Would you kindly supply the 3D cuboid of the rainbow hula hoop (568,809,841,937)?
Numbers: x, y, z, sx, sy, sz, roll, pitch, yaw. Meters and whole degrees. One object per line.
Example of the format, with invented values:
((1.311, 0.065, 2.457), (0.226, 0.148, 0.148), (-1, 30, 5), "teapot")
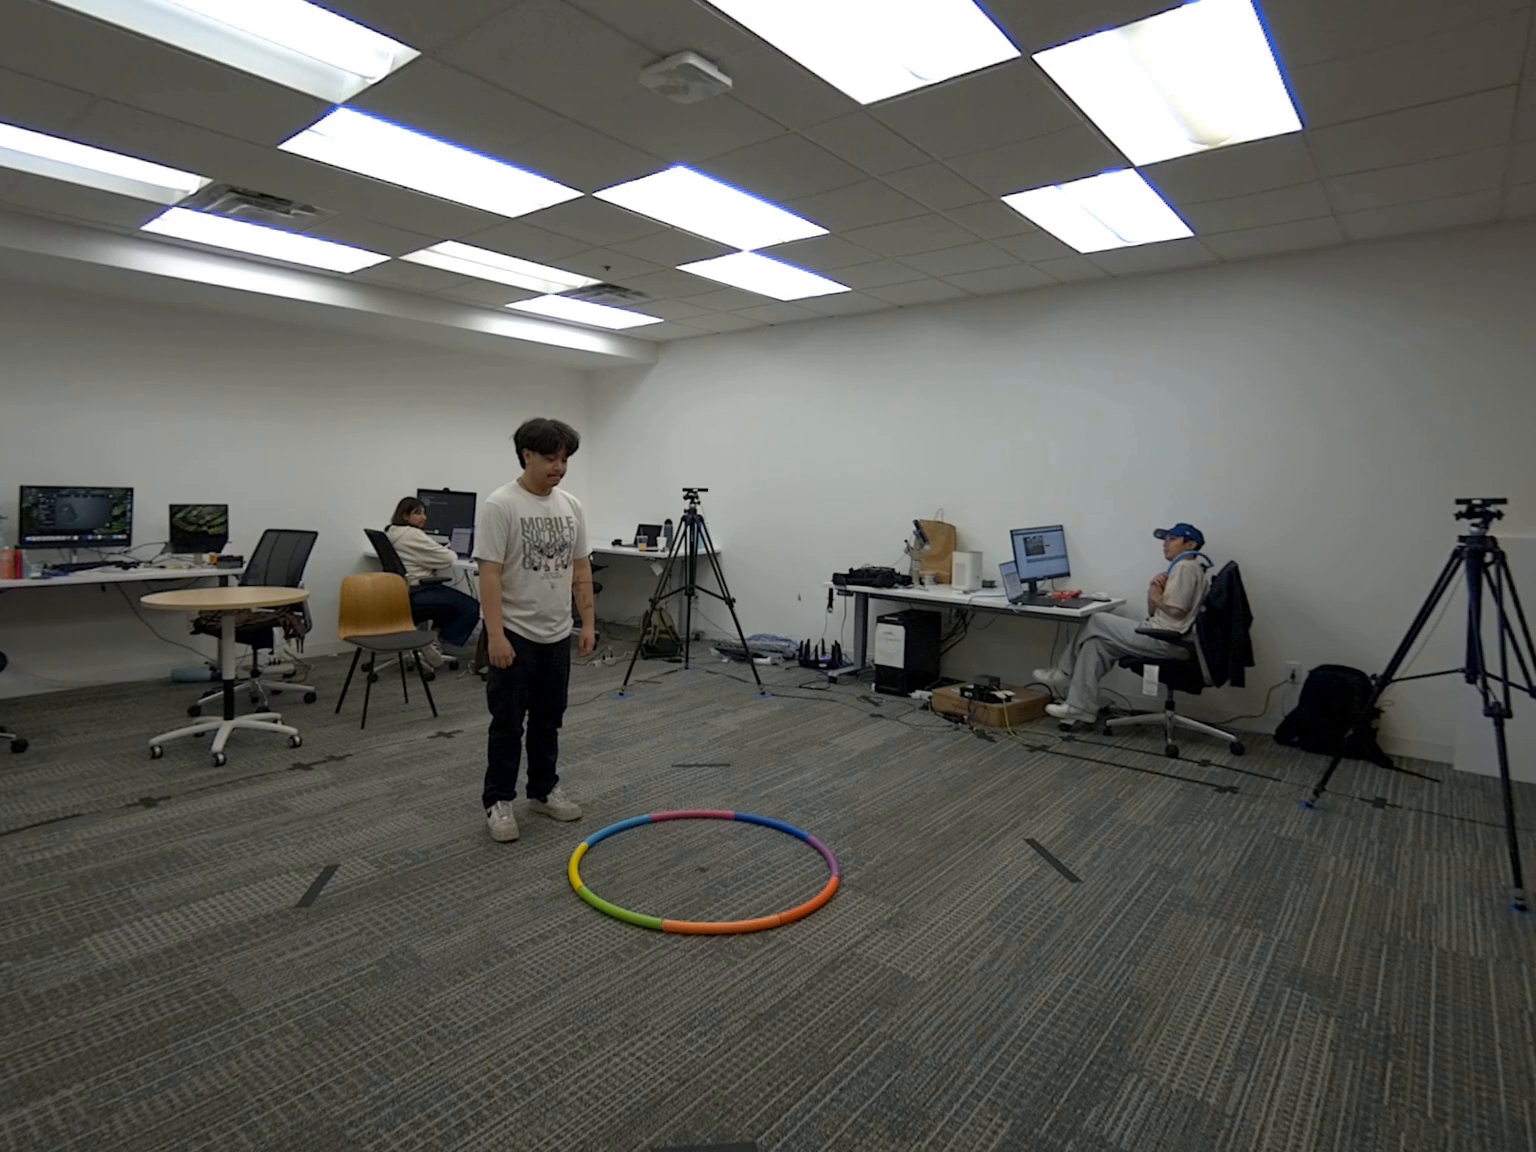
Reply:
((-0.242, 1.042, 3.127), (0.984, 0.051, 0.991), (1, 6, -2), "rainbow hula hoop")
